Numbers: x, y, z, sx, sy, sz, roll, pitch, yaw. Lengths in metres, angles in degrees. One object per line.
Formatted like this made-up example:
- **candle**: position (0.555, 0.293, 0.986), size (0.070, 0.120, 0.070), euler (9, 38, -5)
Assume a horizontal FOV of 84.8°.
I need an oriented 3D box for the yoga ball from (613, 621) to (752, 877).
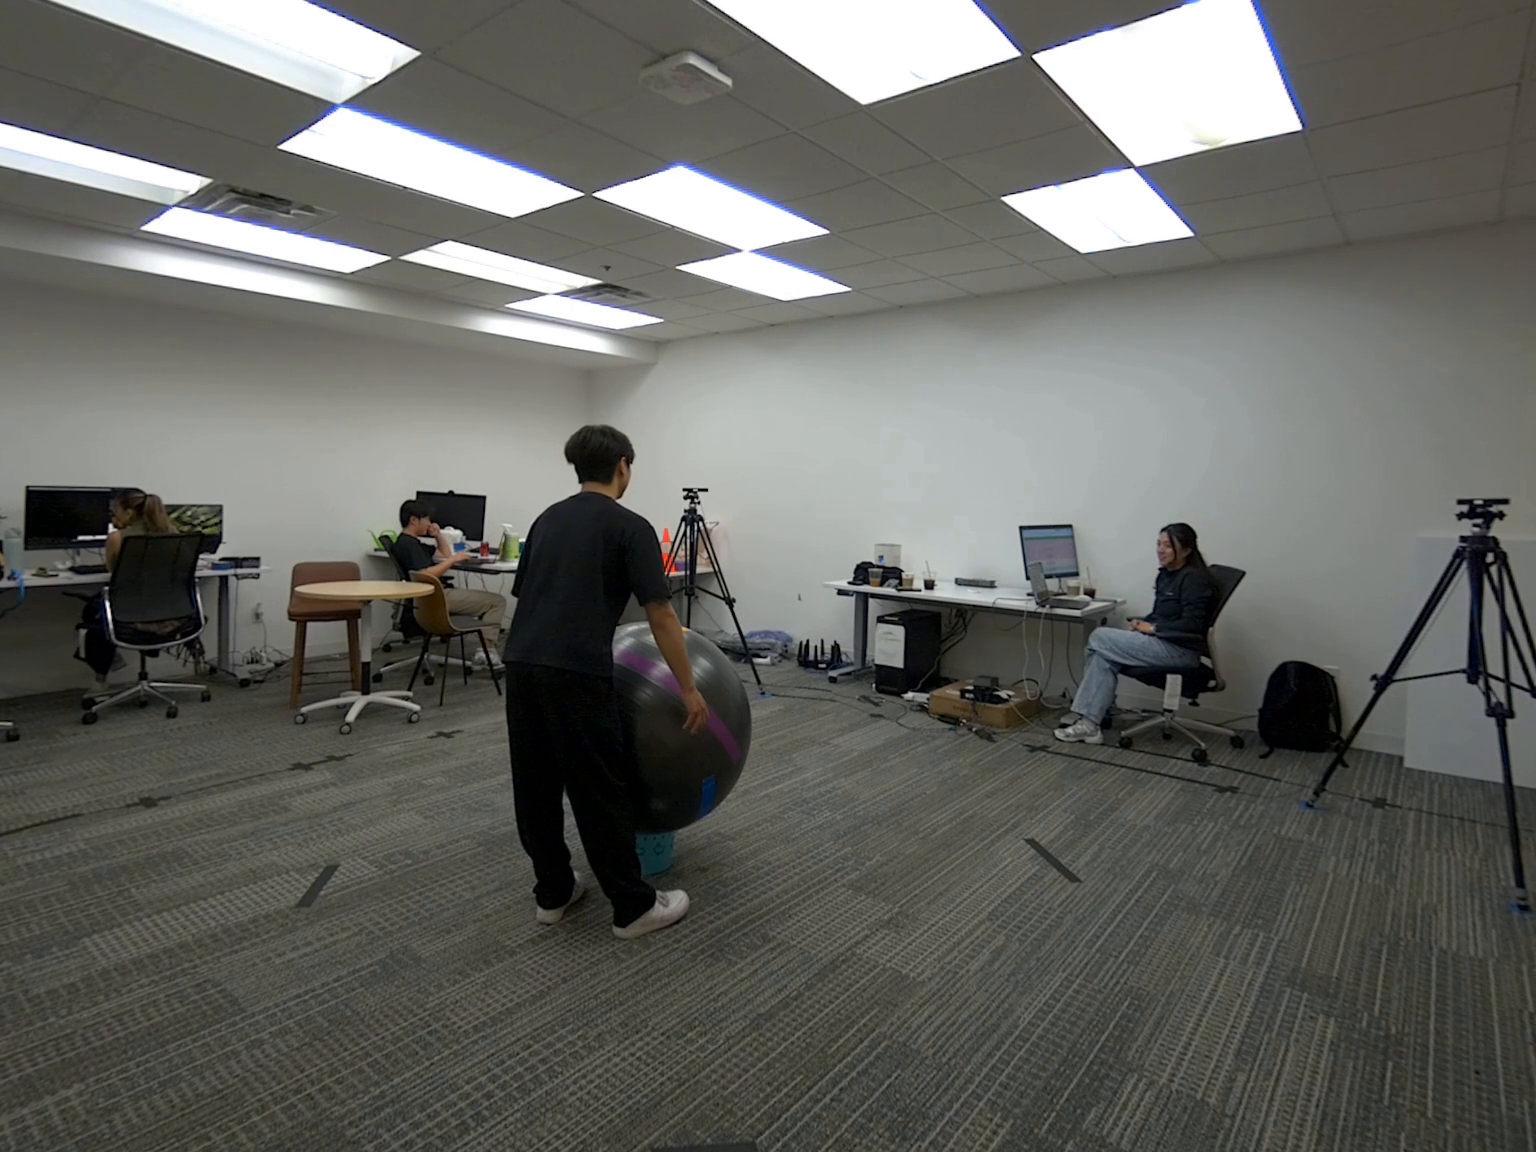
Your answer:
- **yoga ball**: position (-0.448, 0.553, 3.139), size (0.757, 0.755, 0.762), euler (1, 4, -2)
